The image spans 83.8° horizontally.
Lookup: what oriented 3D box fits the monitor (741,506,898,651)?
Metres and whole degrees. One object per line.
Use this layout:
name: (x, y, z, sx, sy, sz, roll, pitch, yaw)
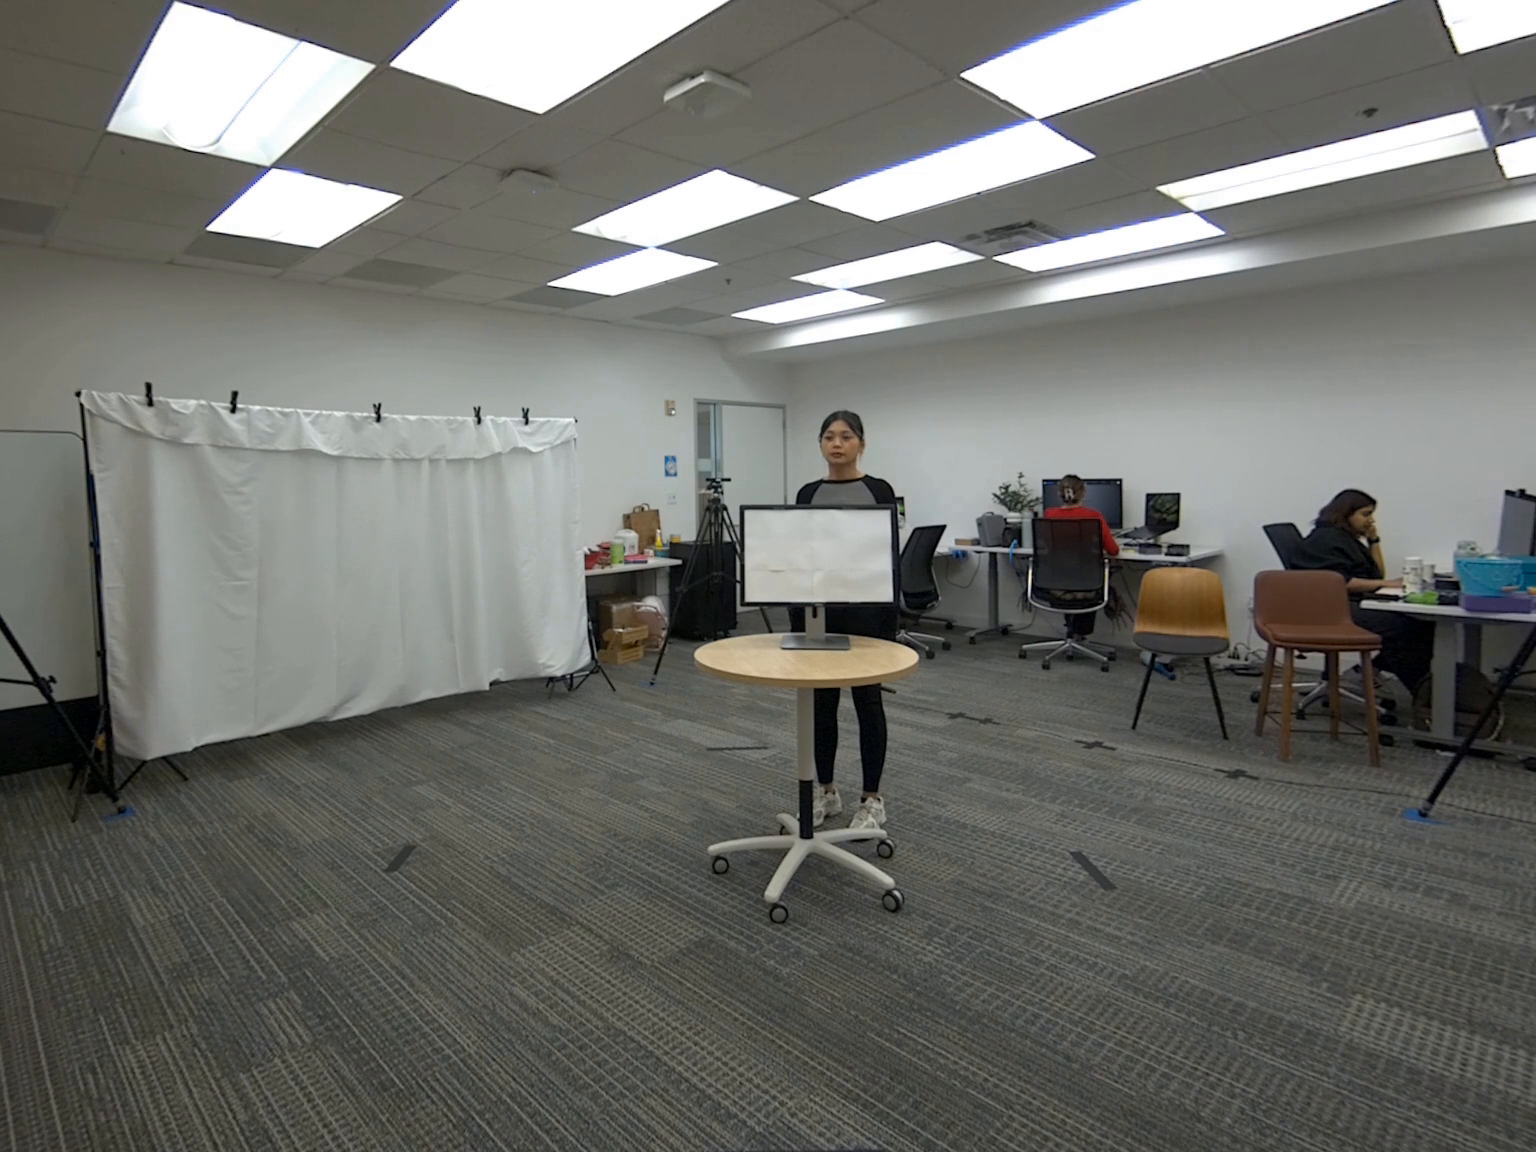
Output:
monitor: (0.172, 0.001, 3.087, 0.538, 0.519, 0.189, 0, 7, -2)
